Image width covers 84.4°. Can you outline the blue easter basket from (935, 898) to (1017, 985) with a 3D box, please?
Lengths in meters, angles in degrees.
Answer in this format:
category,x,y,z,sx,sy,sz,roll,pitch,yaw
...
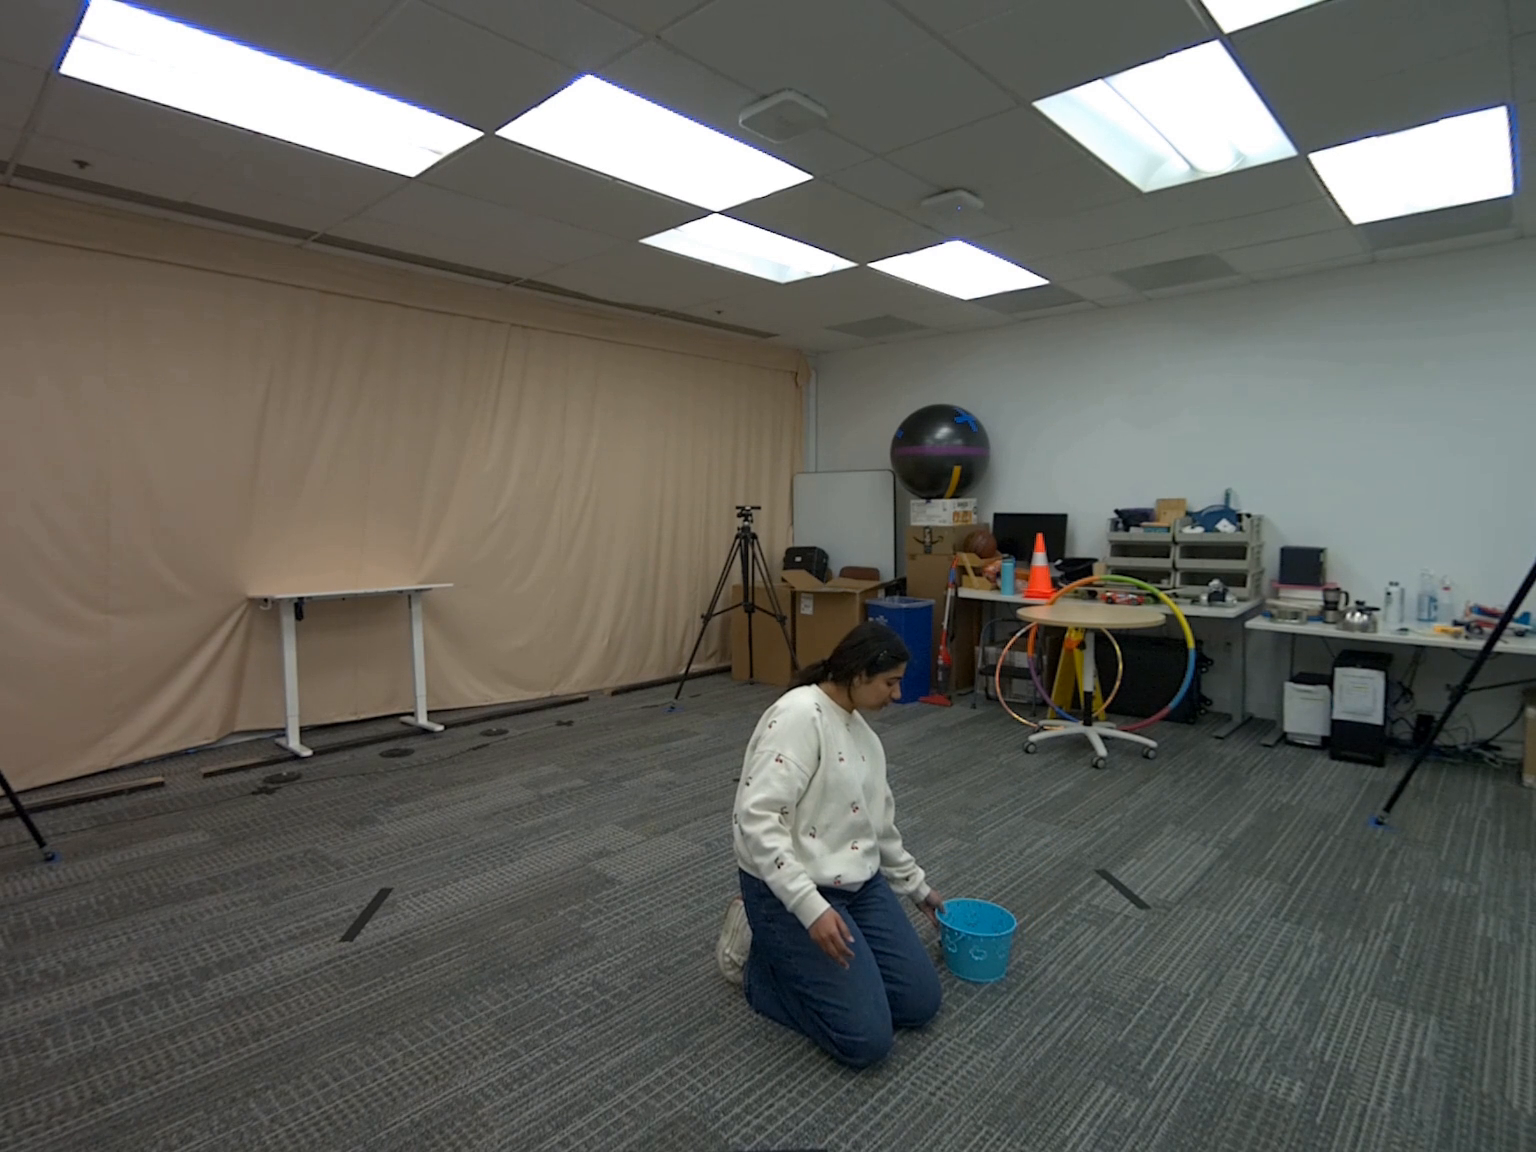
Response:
category,x,y,z,sx,sy,sz,roll,pitch,yaw
blue easter basket,0.633,1.104,2.531,0.243,0.155,0.244,0,4,-2
